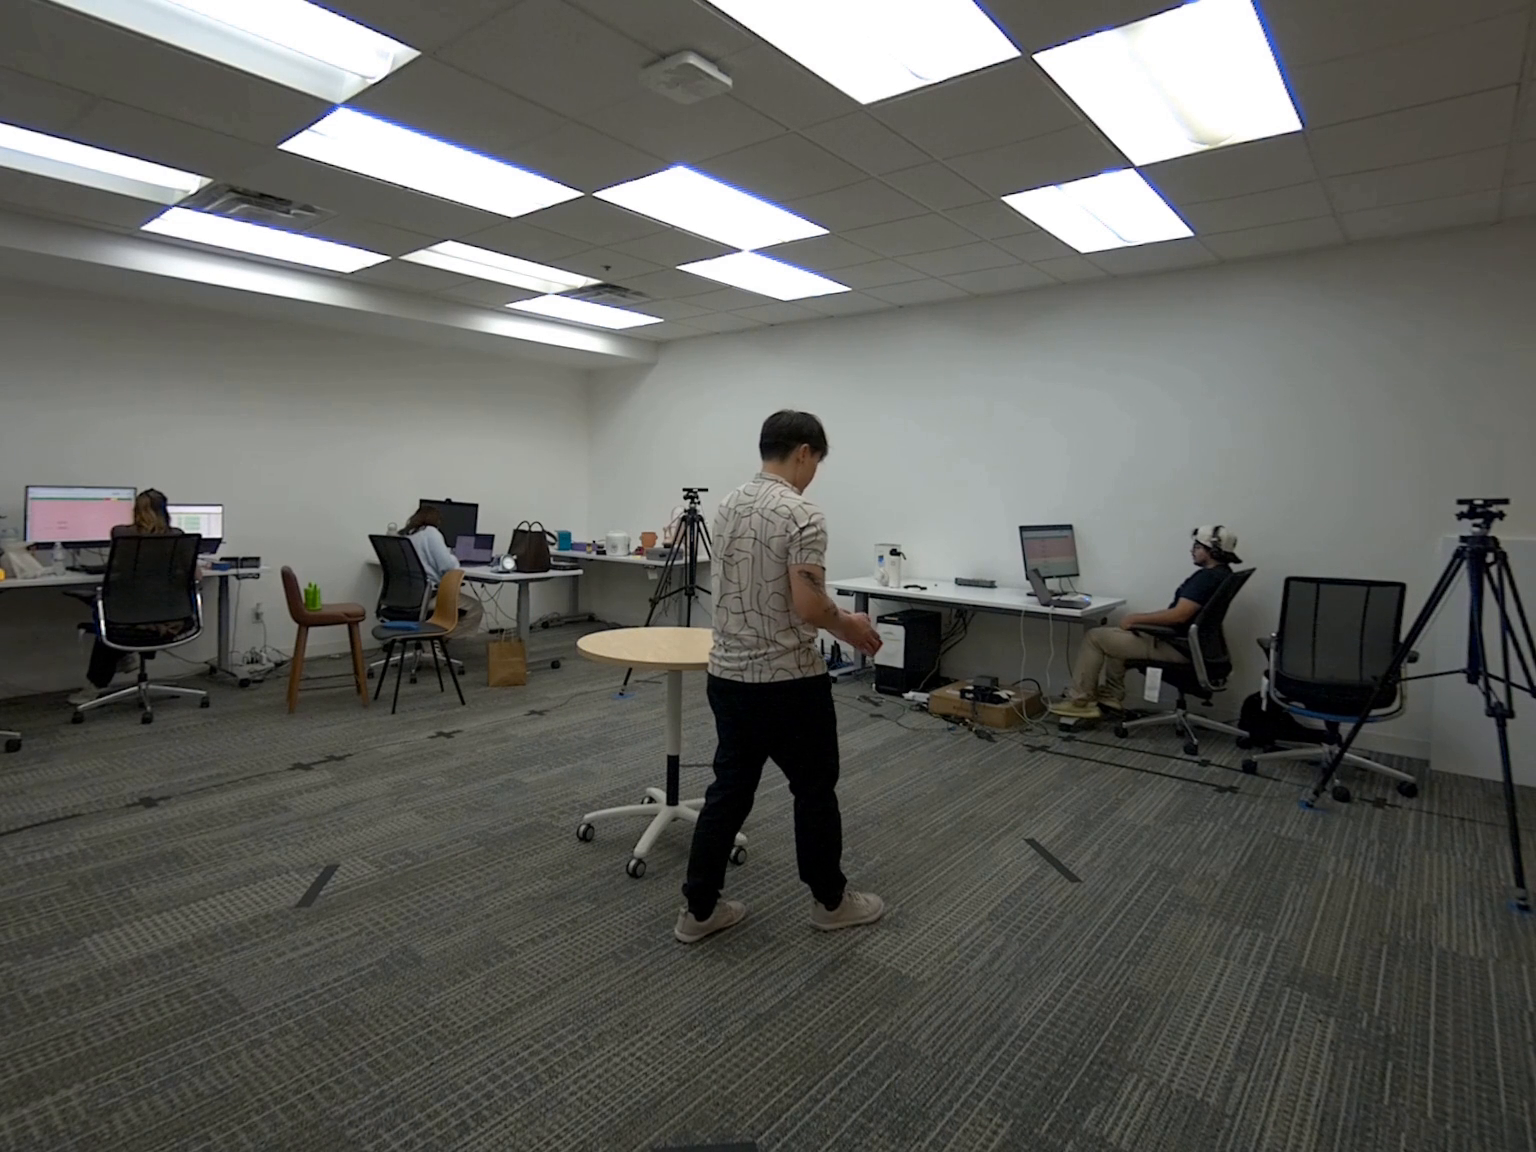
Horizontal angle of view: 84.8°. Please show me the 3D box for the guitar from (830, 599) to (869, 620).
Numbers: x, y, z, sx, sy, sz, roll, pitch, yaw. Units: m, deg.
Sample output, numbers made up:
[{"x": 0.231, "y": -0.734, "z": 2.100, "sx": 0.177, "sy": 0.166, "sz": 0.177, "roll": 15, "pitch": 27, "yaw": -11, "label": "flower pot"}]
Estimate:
[{"x": 0.220, "y": 0.161, "z": 2.915, "sx": 0.188, "sy": 0.071, "sz": 0.509, "roll": 43, "pitch": -9, "yaw": -19, "label": "guitar"}]
